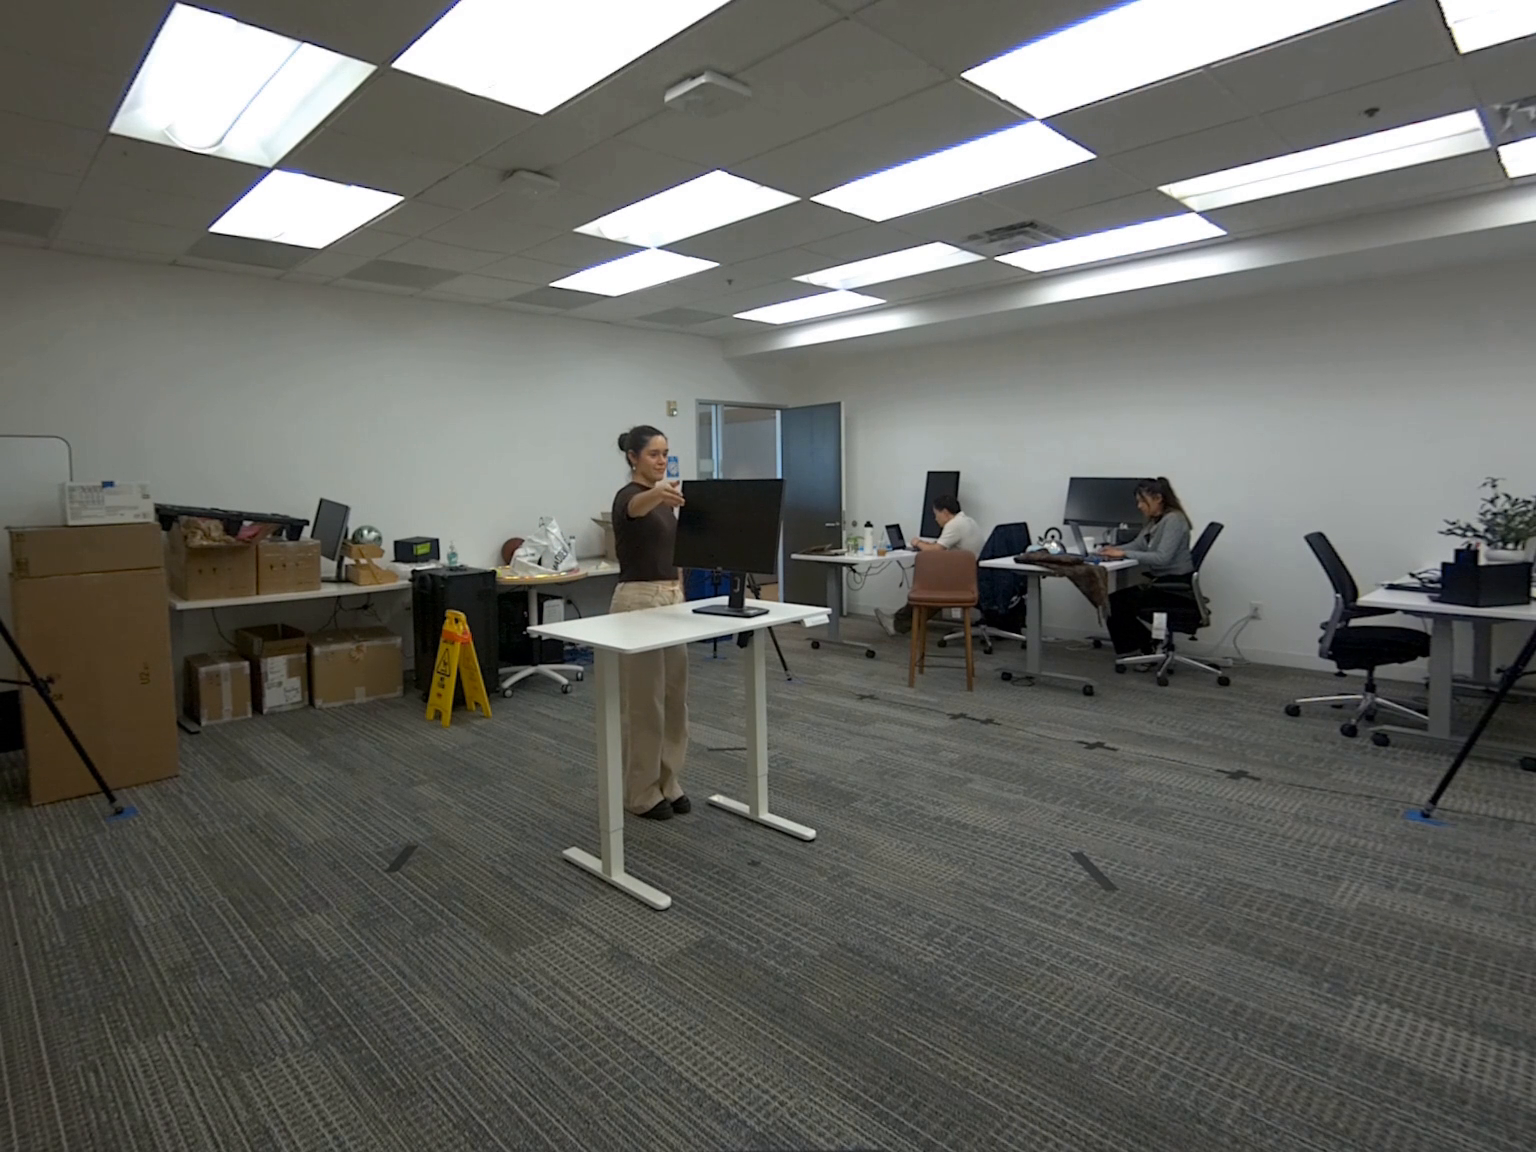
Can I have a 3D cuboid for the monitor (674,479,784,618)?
[{"bbox_3d":[-0.142,-0.108,3.278,0.555,0.520,0.182,3,7,42],"label":"monitor"}]
